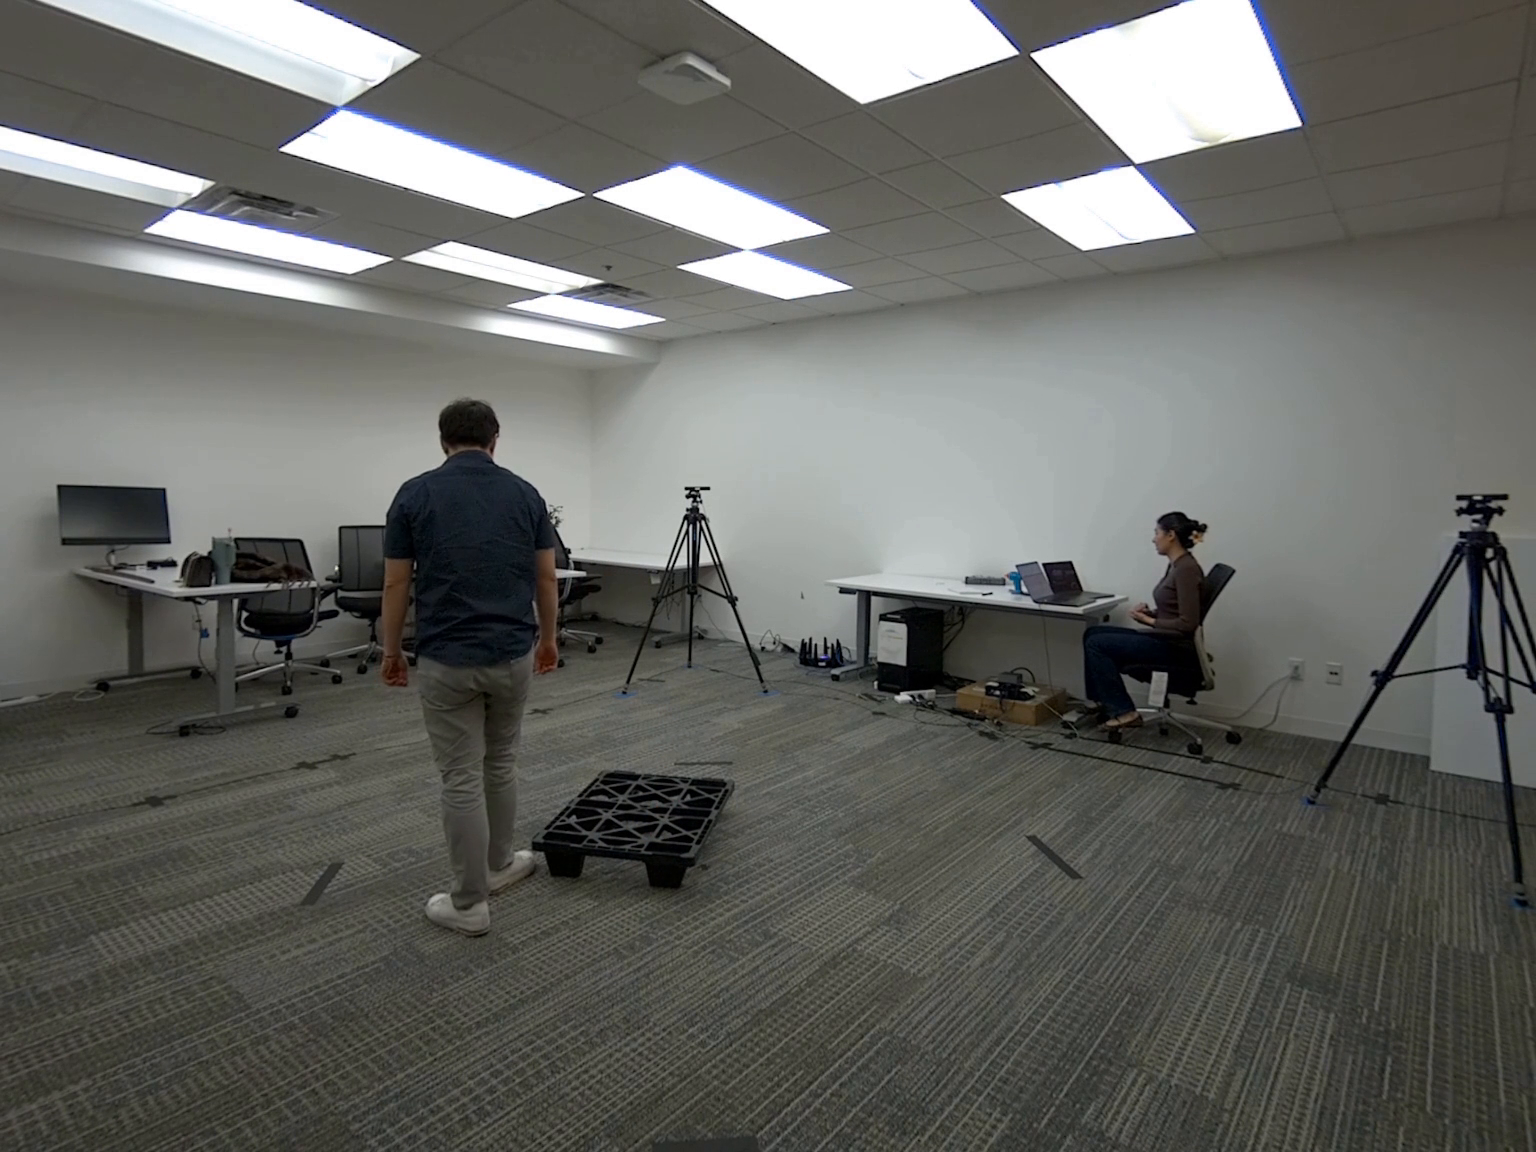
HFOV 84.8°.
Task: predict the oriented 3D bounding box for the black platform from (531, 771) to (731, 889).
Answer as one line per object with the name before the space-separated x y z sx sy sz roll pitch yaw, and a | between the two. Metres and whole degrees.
black platform | -0.503 0.971 3.335 0.612 0.143 0.800 1 5 9
